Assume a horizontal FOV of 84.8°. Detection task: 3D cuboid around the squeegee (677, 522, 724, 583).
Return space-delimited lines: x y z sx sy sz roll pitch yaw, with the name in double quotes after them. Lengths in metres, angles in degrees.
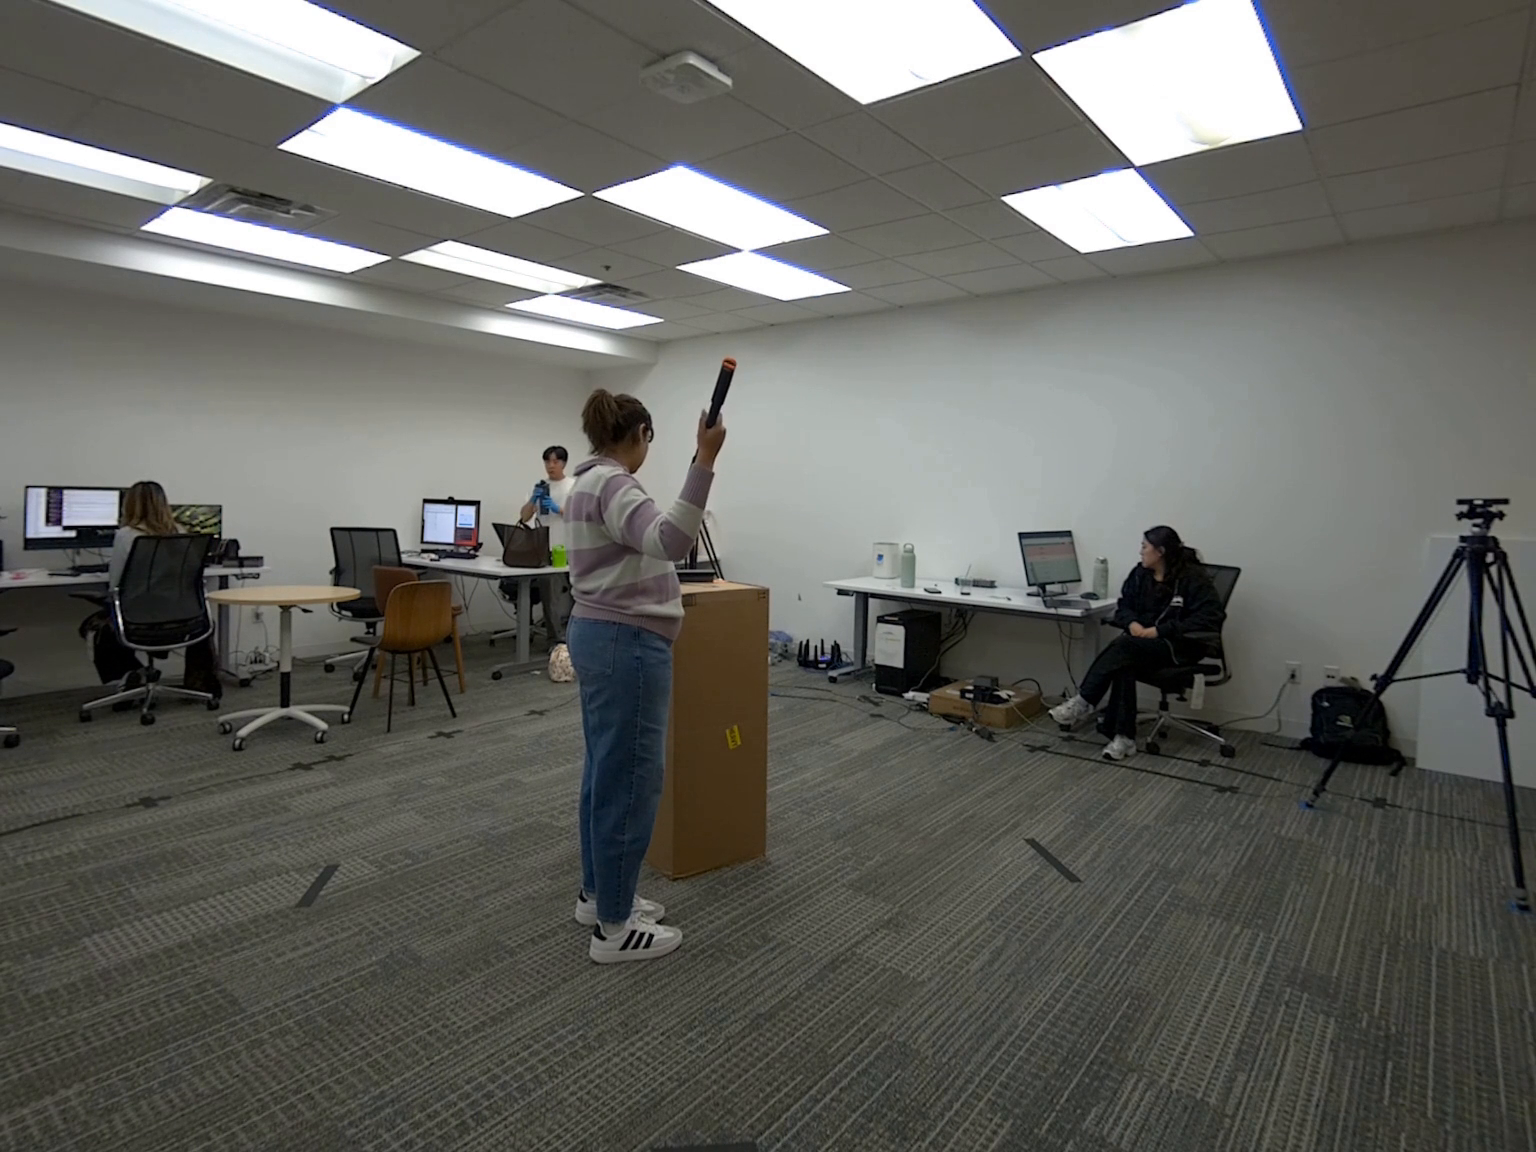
-0.255 -0.252 2.672 0.433 0.054 1.521 -1 -20 -11 "squeegee"
